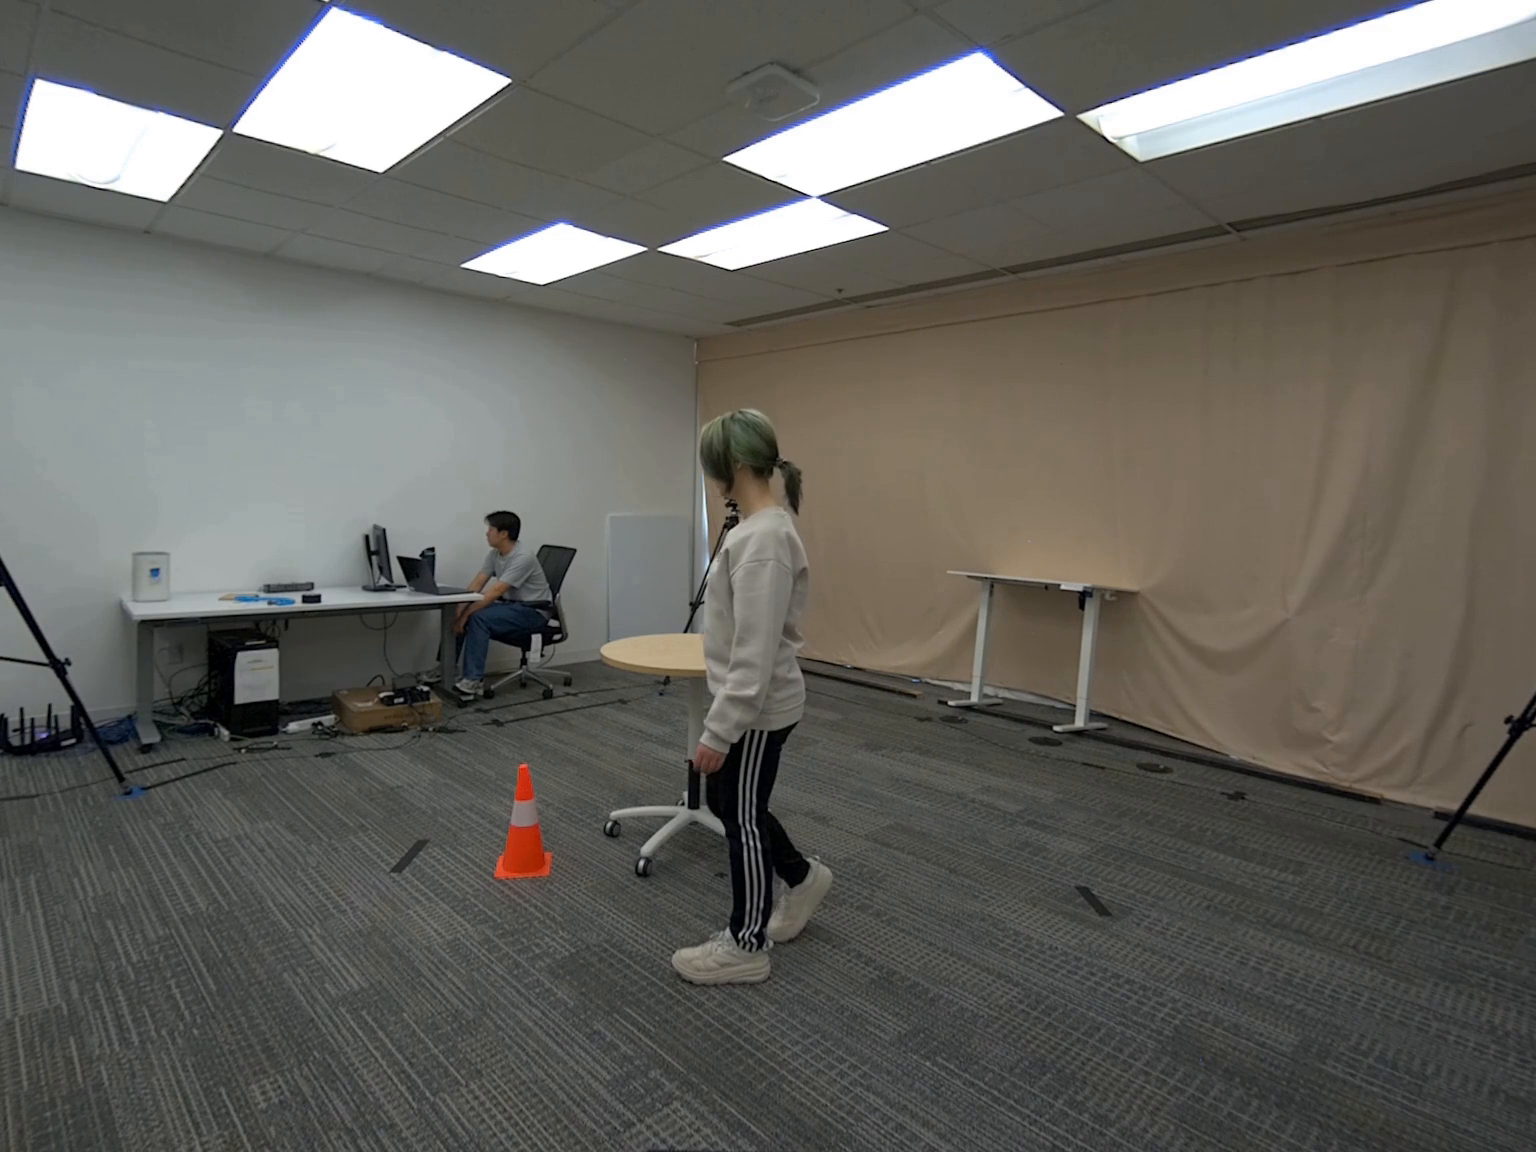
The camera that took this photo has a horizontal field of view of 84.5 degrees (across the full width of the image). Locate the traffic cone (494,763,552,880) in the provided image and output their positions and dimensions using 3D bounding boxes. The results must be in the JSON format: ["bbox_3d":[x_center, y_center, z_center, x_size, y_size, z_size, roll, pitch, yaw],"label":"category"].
[{"bbox_3d":[-0.924,0.901,3.134,0.203,0.383,0.205,0,4,-11],"label":"traffic cone"}]
